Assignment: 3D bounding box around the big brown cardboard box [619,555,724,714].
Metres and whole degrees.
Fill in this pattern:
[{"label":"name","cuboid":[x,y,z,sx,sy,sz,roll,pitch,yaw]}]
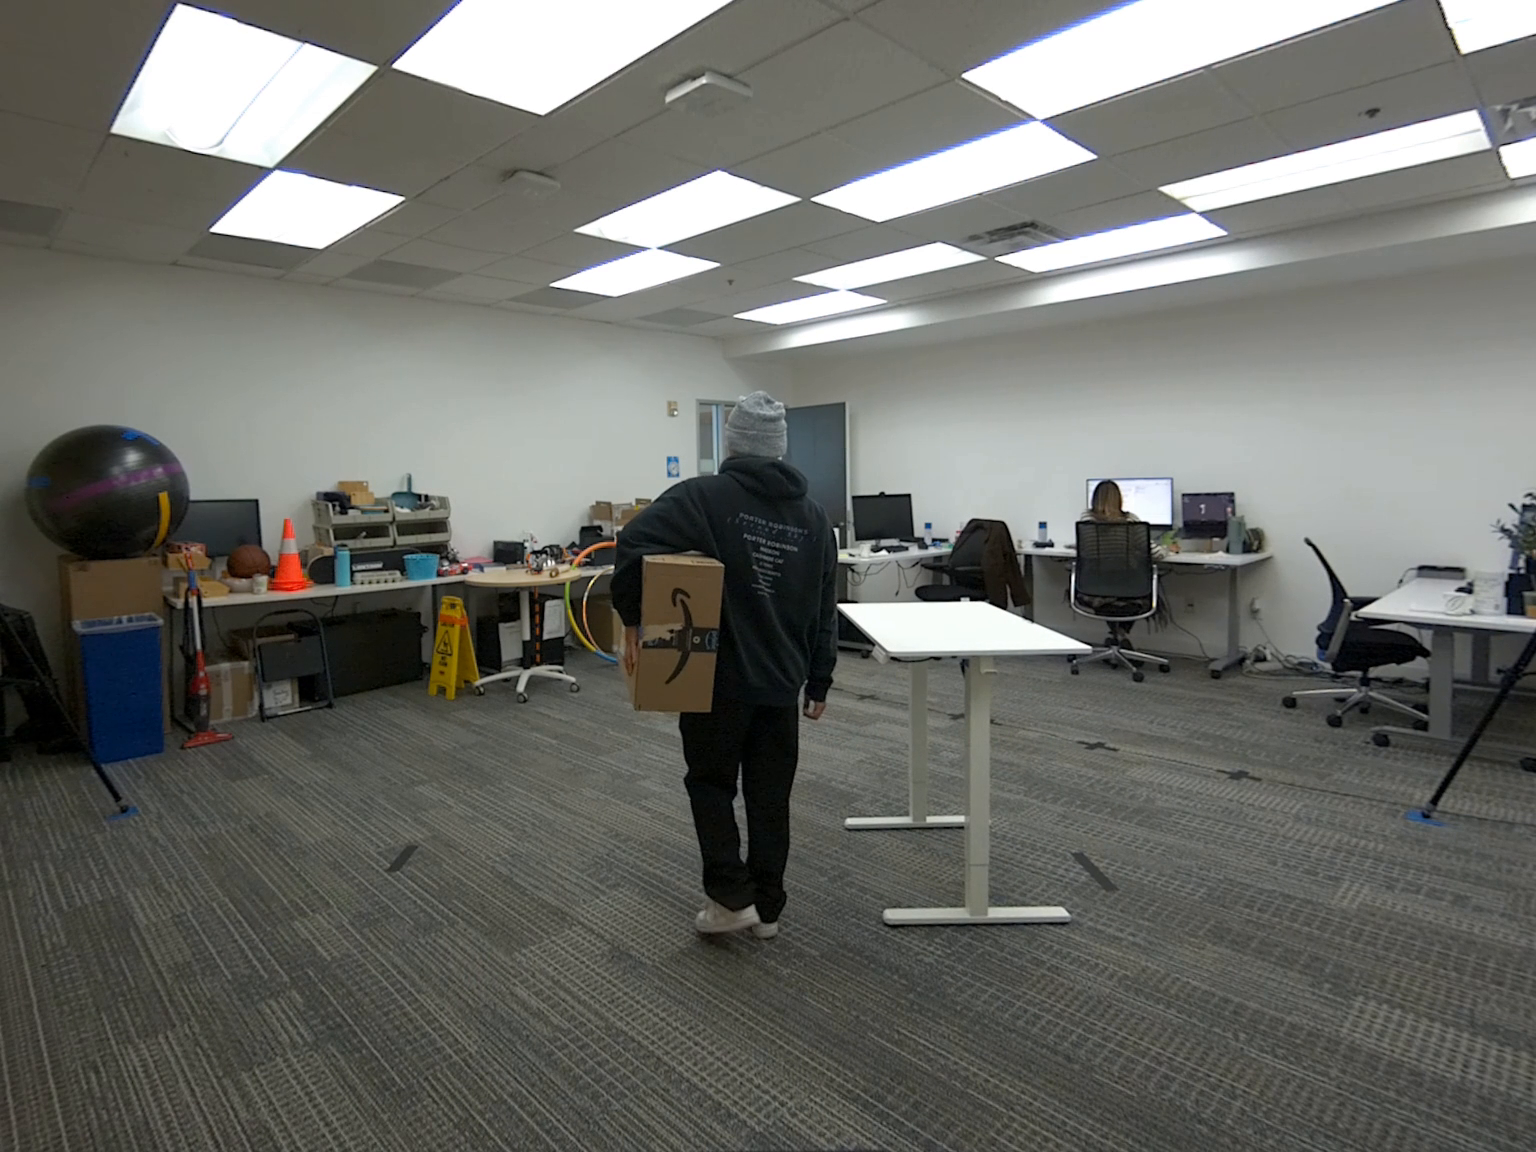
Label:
[{"label":"big brown cardboard box","cuboid":[-0.325,0.126,2.594,0.231,0.415,0.598,3,7,-12]}]
